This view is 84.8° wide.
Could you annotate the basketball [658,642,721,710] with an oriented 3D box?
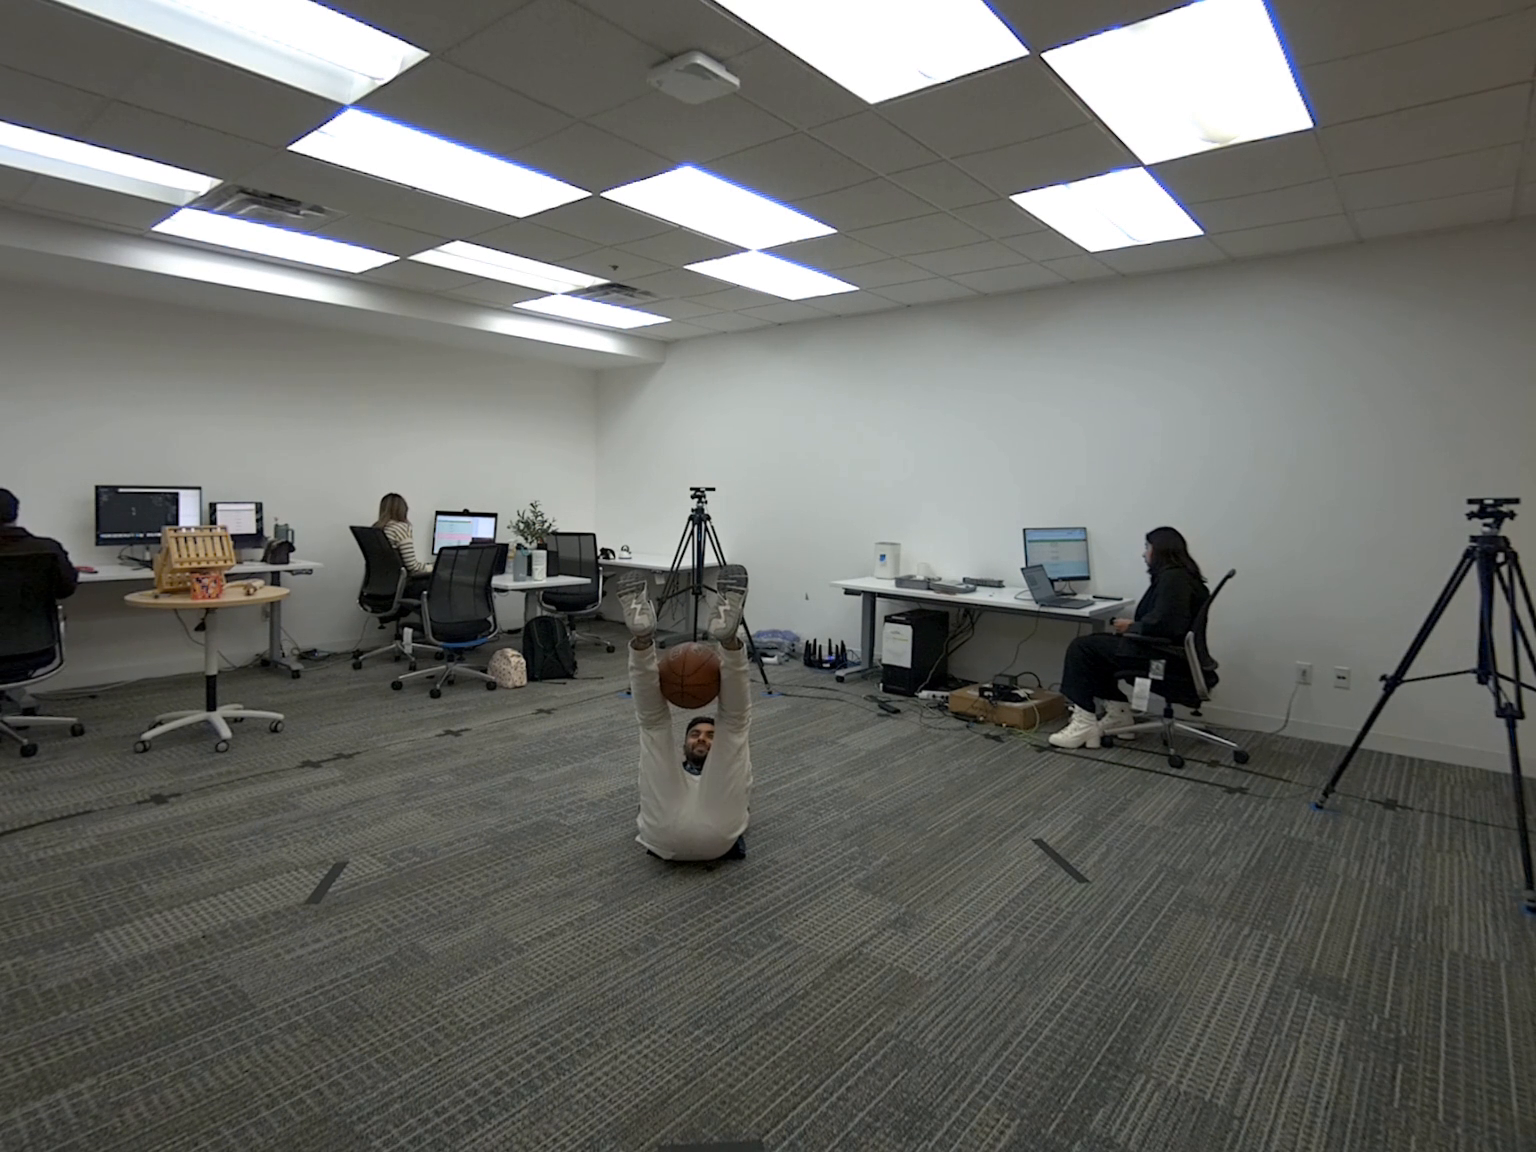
[{"bbox_3d":[-0.294,0.351,3.088,0.235,0.235,0.237,1,4,-2],"label":"basketball"}]
